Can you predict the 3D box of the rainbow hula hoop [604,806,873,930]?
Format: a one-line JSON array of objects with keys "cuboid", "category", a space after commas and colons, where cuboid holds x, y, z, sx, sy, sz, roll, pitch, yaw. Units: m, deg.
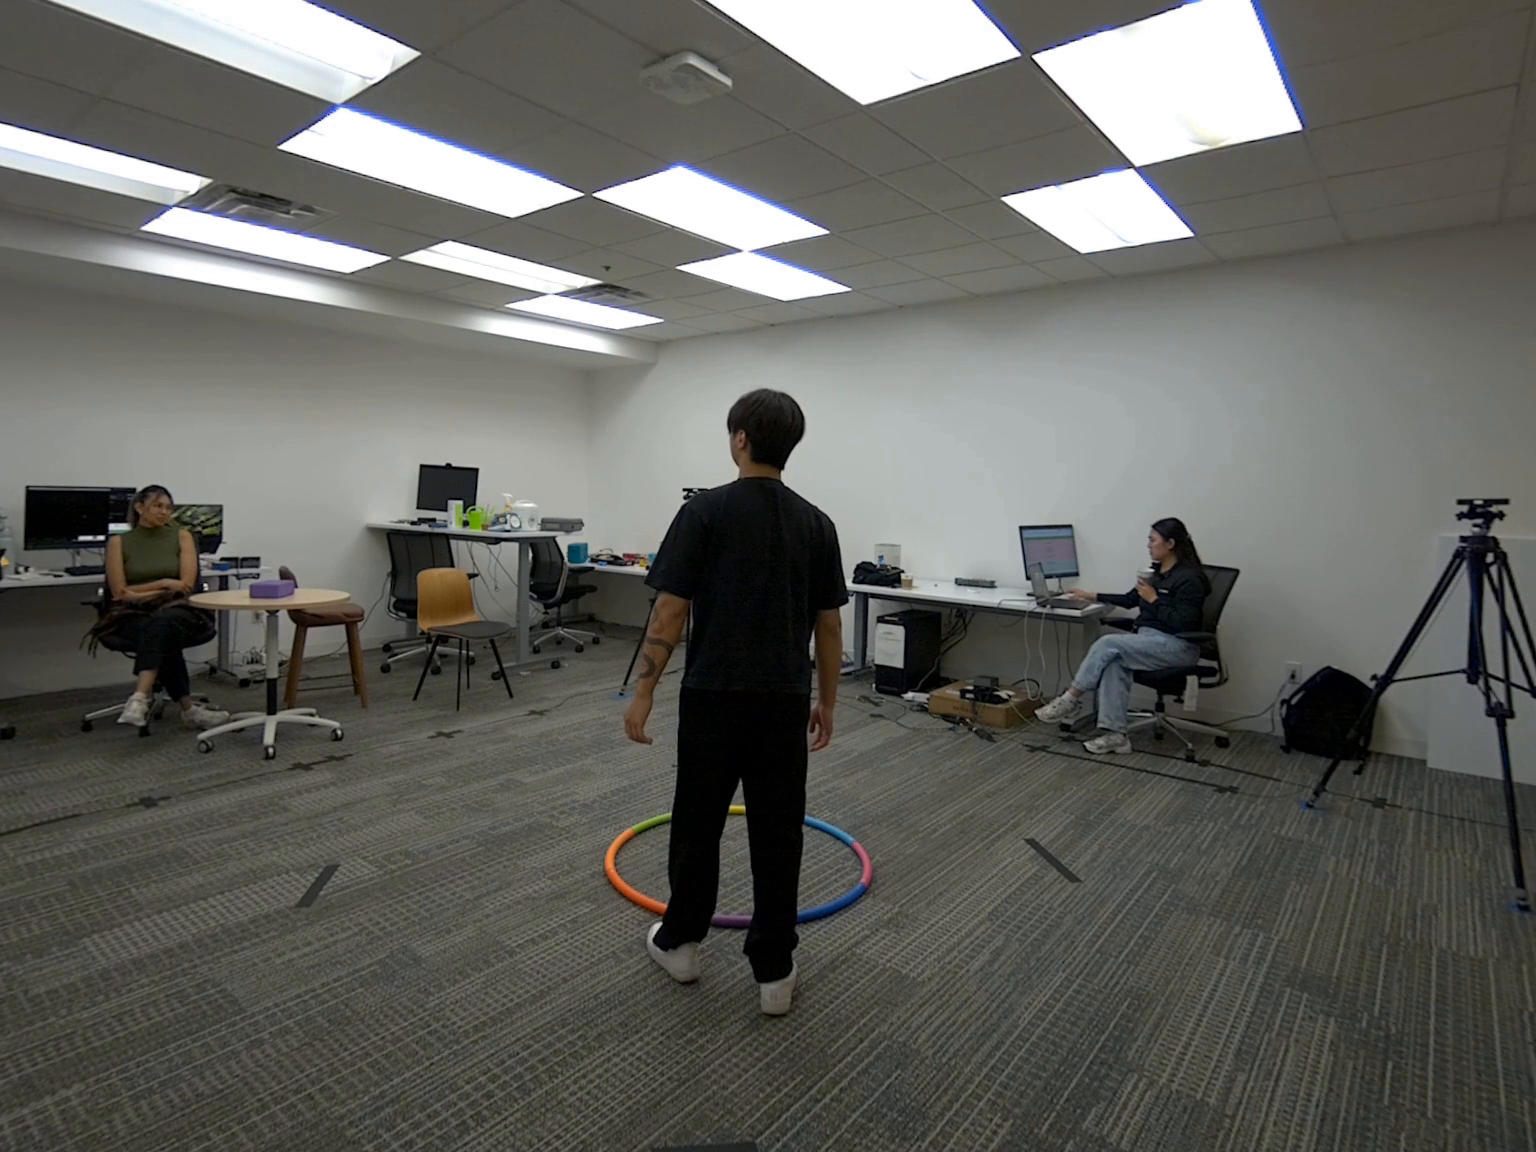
[{"cuboid": [-0.123, 1.035, 3.172, 0.978, 0.035, 0.984, 1, 6, -2], "category": "rainbow hula hoop"}]
